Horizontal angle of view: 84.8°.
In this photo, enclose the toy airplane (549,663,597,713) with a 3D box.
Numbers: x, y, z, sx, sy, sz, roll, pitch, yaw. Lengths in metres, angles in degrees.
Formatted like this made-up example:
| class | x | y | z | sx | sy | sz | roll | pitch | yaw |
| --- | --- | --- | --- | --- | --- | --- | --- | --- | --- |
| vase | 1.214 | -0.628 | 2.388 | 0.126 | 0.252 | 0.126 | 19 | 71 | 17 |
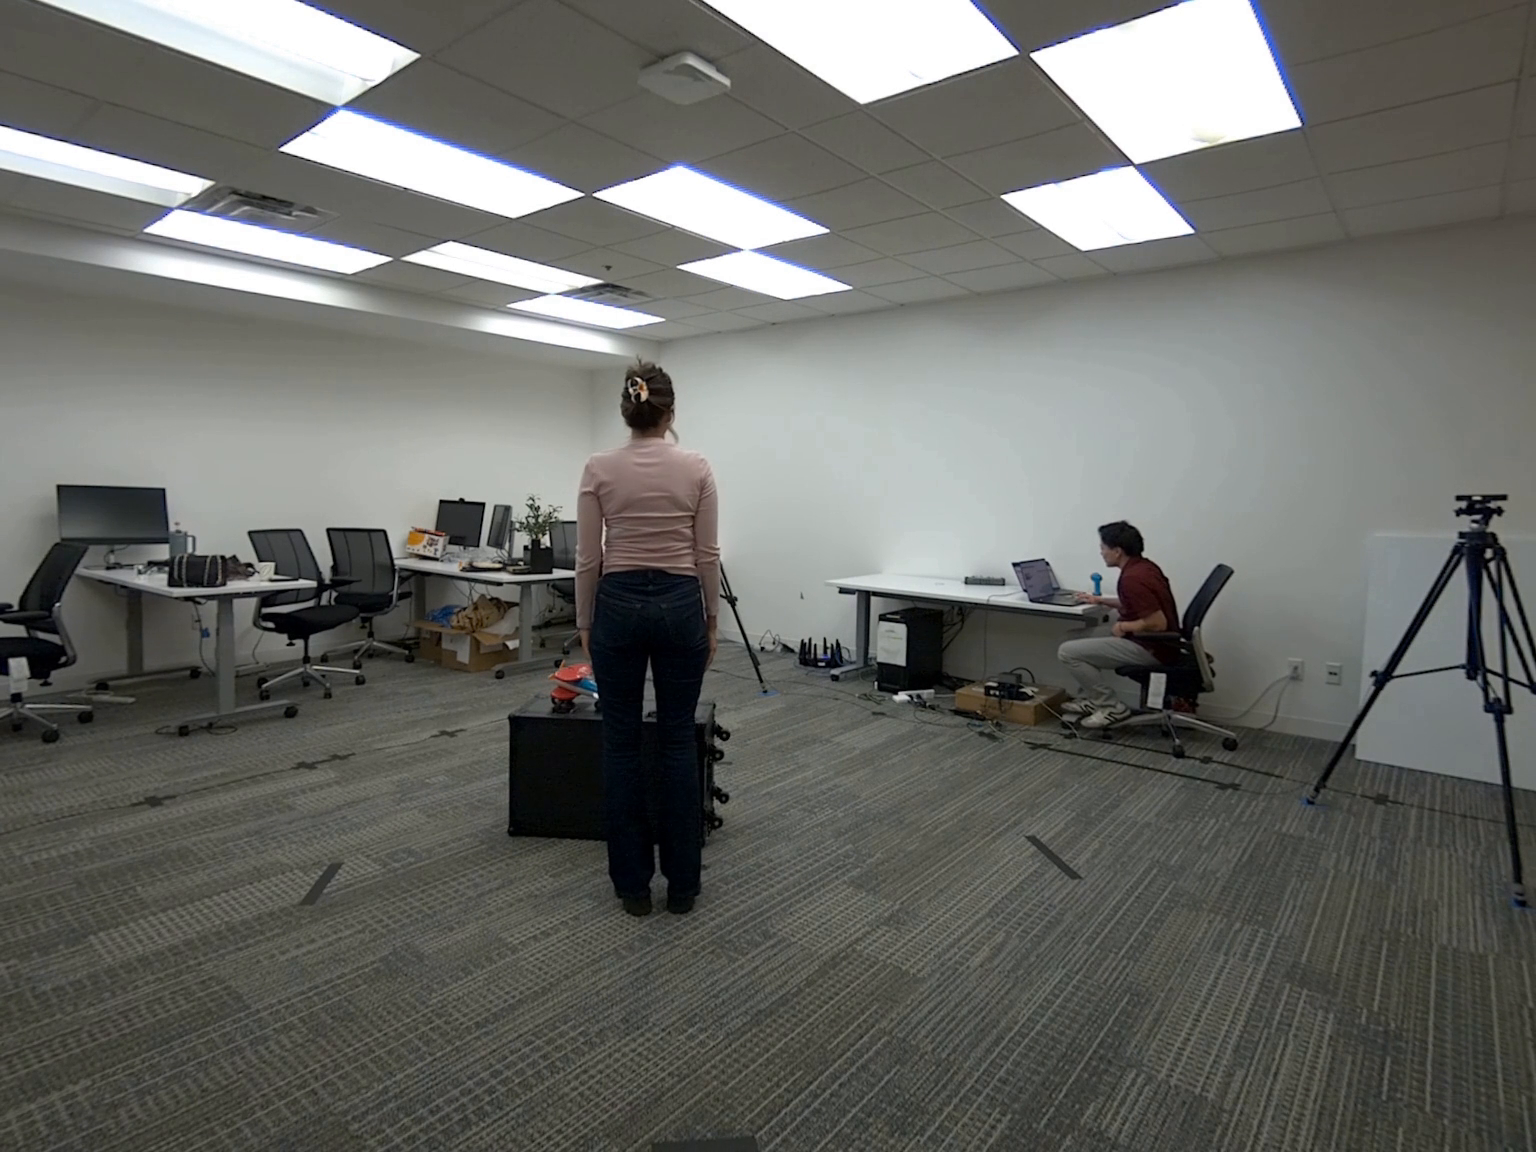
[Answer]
| class | x | y | z | sx | sy | sz | roll | pitch | yaw |
| --- | --- | --- | --- | --- | --- | --- | --- | --- | --- |
| toy airplane | -0.784 | 0.457 | 3.542 | 0.257 | 0.156 | 0.254 | -1 | 4 | -9 |
